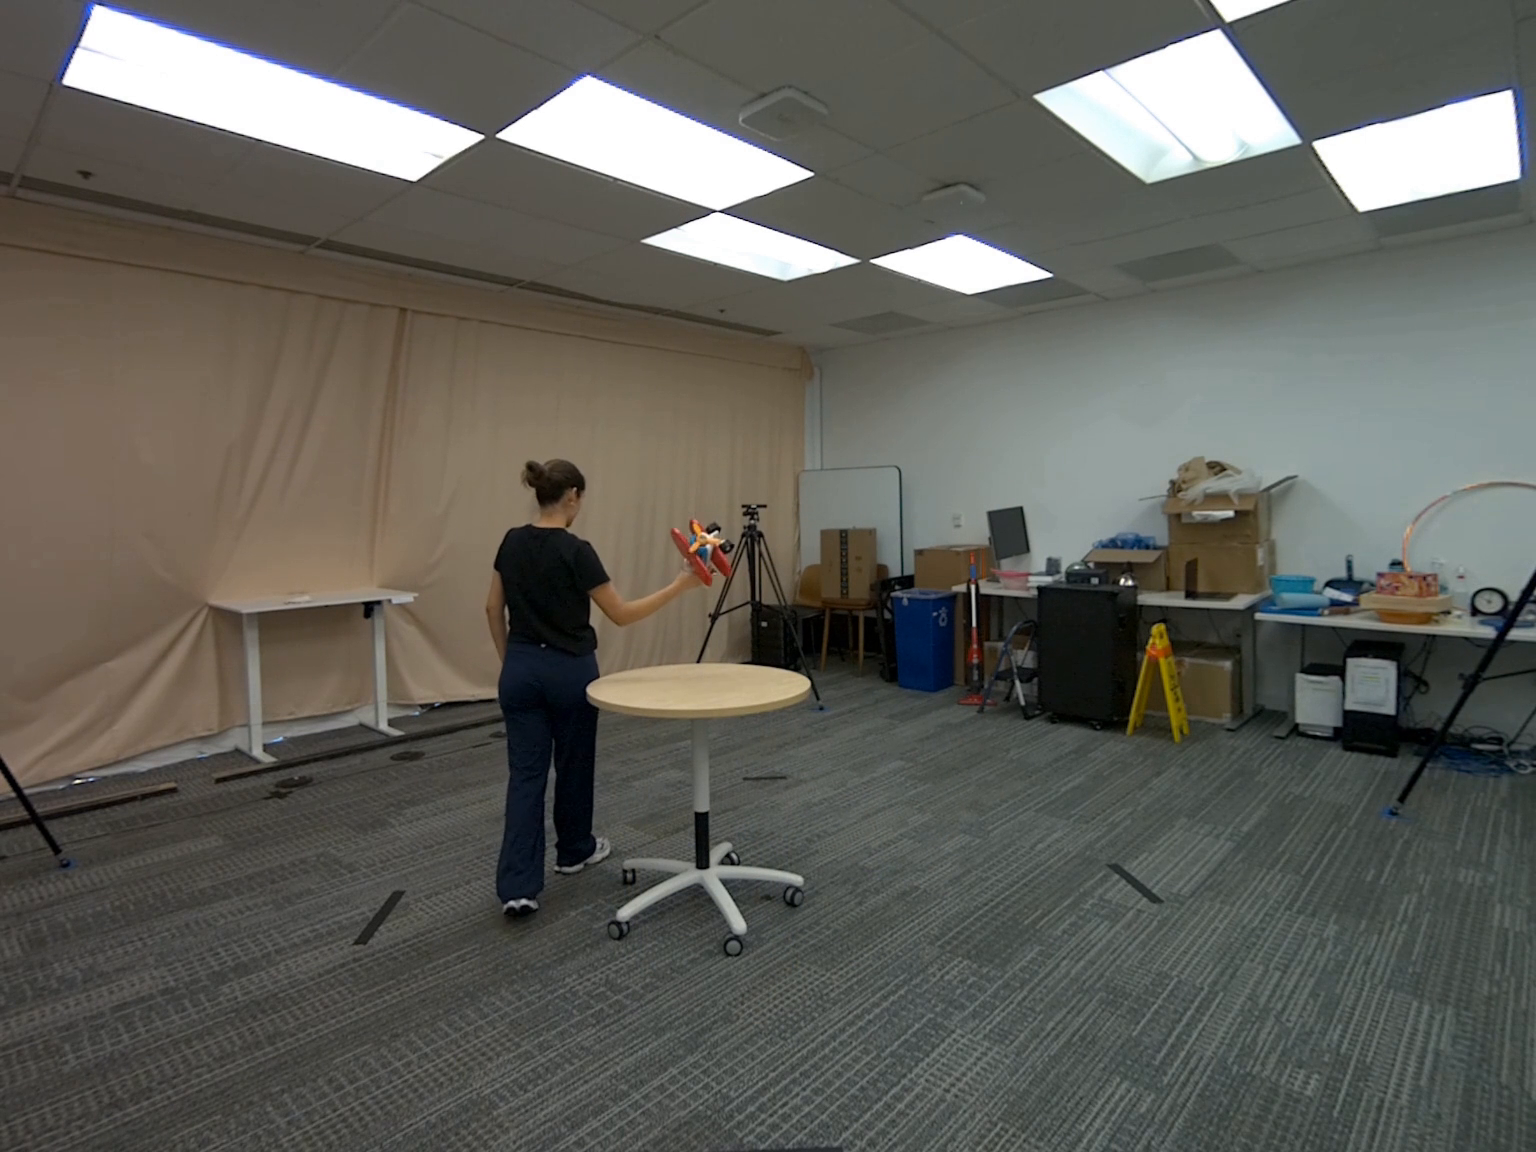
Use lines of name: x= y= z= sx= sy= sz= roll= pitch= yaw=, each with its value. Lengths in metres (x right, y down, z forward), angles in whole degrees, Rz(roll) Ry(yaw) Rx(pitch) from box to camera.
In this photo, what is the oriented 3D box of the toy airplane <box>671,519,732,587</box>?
toy airplane: x=-0.213 y=-0.057 z=2.992 sx=0.153 sy=0.255 sz=0.260 roll=-19 pitch=34 yaw=-35
